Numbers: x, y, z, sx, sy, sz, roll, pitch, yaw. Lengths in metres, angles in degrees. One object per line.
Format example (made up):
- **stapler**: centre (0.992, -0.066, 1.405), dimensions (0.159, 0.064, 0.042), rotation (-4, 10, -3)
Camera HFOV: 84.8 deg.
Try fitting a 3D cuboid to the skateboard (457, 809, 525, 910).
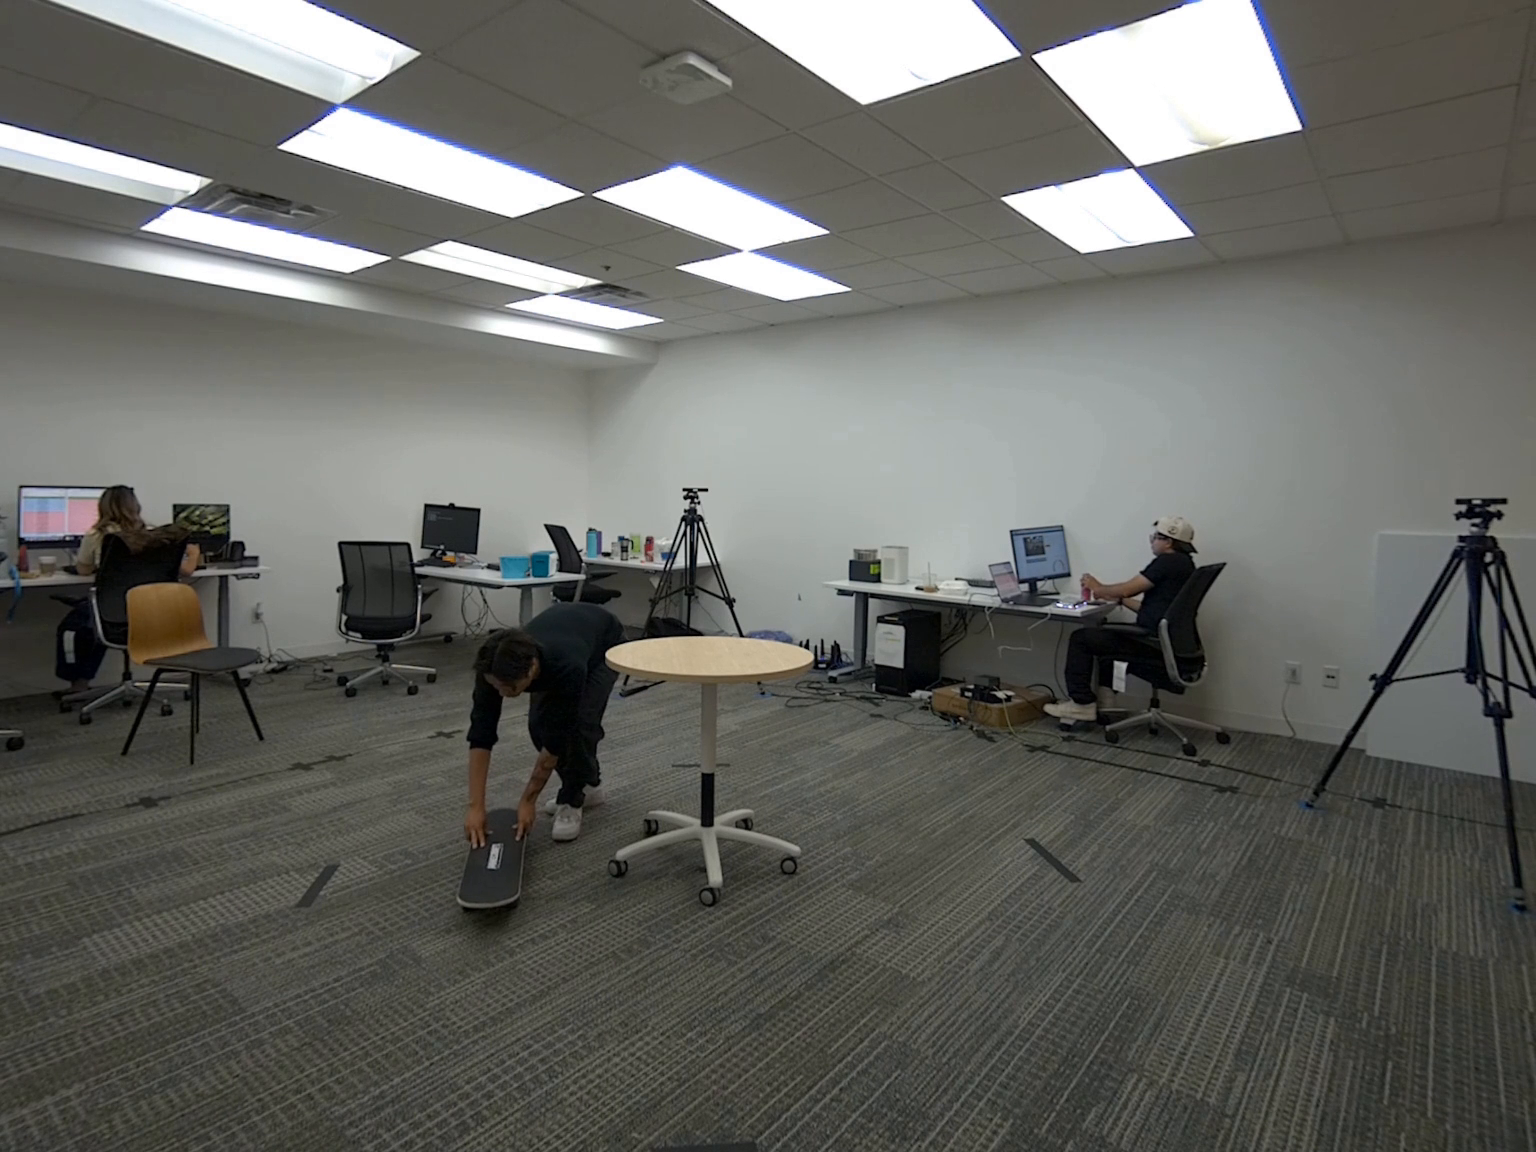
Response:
- **skateboard**: centre (-0.978, 1.015, 2.985), dimensions (0.191, 0.110, 0.798), rotation (-1, 6, -13)
